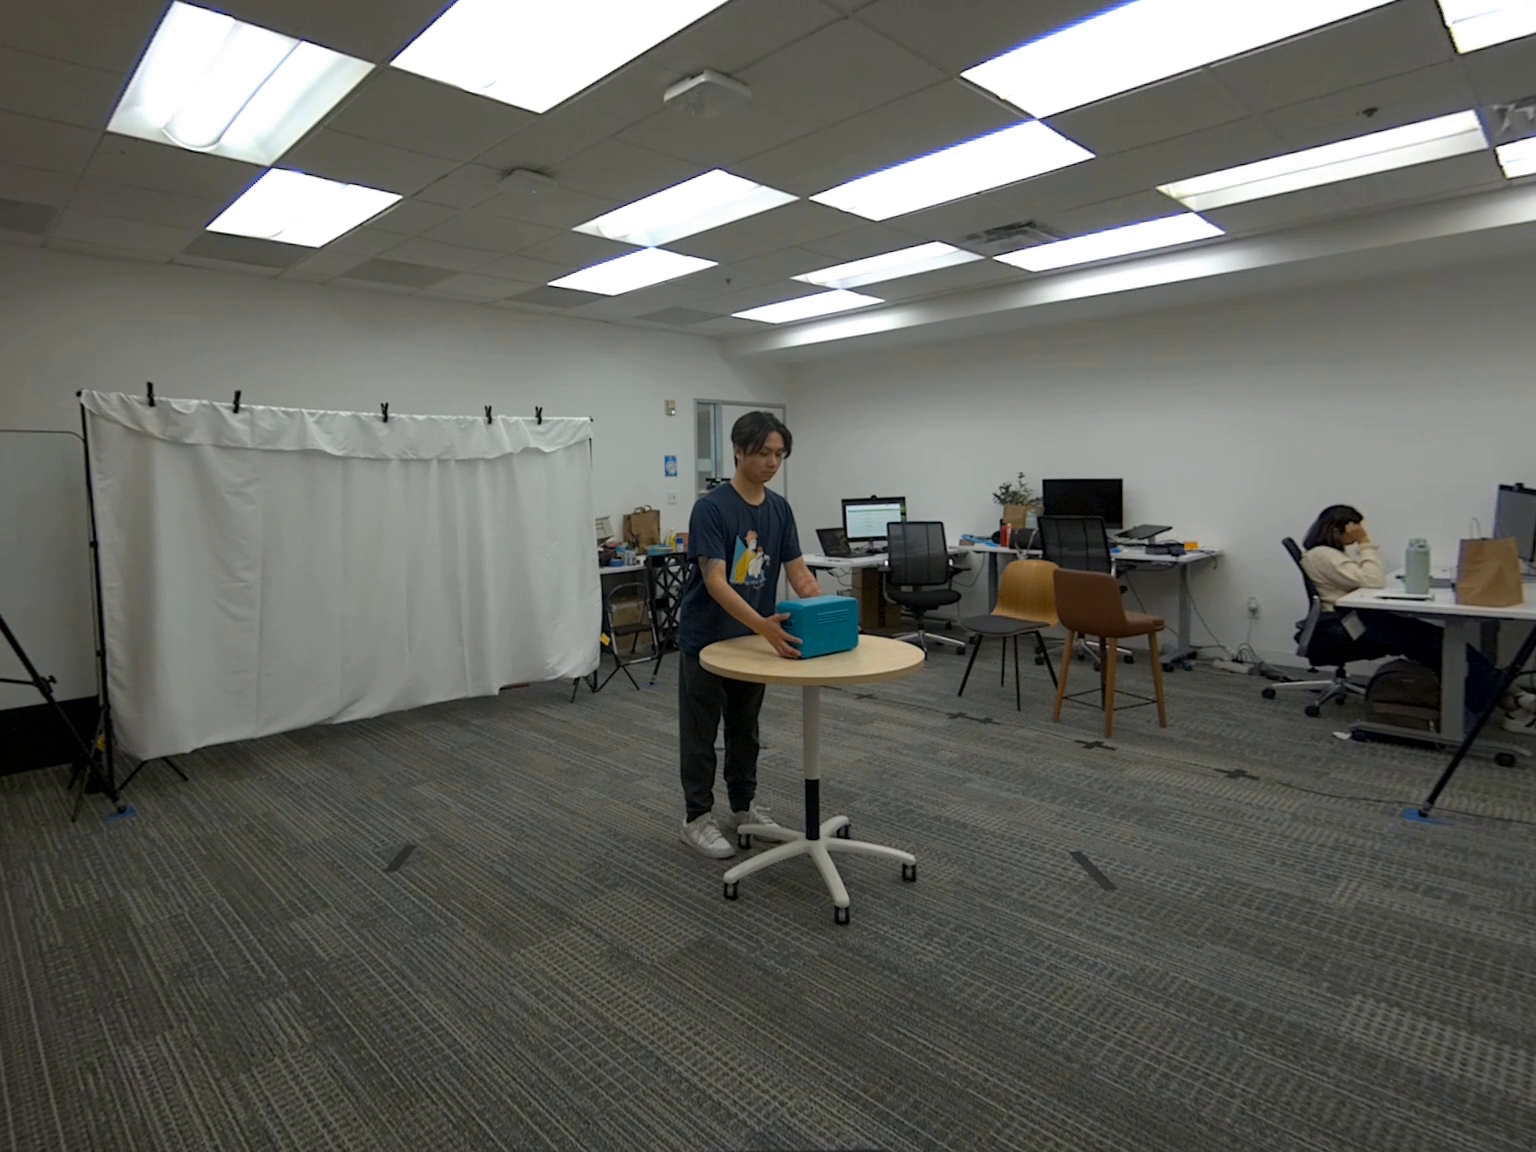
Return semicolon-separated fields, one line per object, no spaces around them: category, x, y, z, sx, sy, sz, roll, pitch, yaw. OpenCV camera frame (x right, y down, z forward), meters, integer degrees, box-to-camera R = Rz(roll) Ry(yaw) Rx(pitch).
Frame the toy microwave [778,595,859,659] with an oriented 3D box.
toy microwave;0.171;0.173;2.925;0.279;0.183;0.157;-5;6;-37
